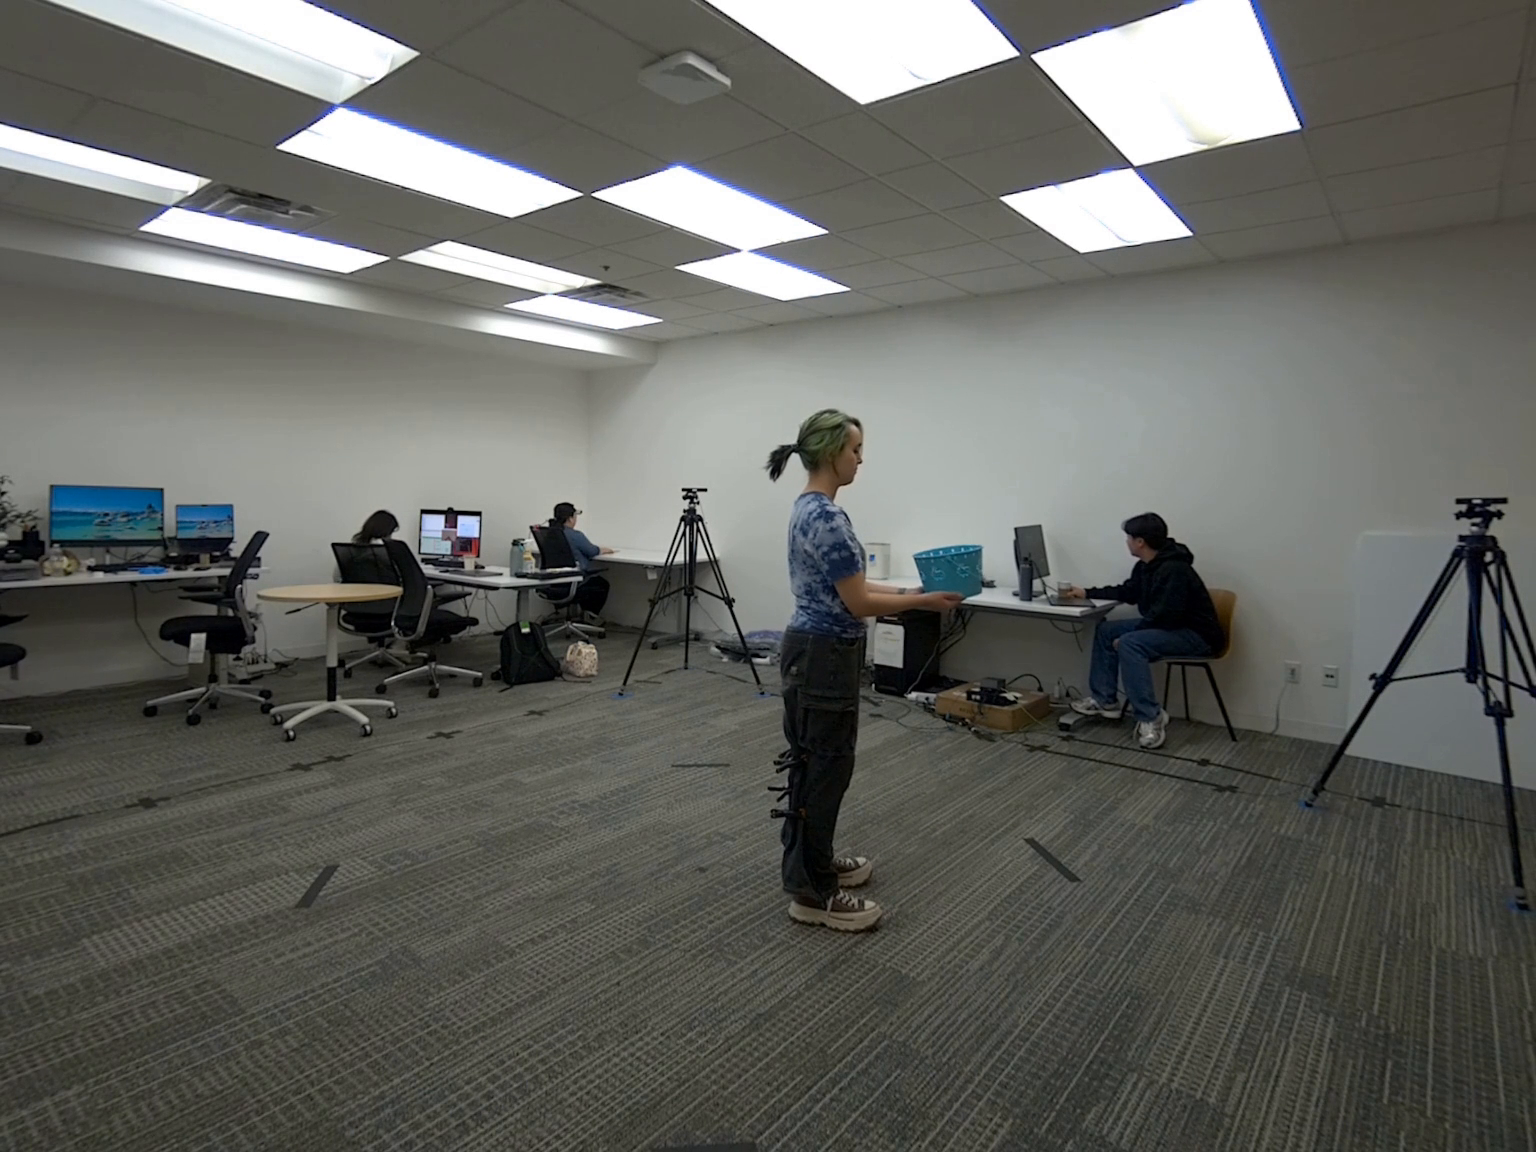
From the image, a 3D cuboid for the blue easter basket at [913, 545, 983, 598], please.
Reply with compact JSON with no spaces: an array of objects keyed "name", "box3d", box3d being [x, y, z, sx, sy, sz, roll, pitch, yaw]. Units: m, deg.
[{"name":"blue easter basket","box3d":[0.607,-0.008,2.821,0.243,0.155,0.245,-7,5,-1]}]
